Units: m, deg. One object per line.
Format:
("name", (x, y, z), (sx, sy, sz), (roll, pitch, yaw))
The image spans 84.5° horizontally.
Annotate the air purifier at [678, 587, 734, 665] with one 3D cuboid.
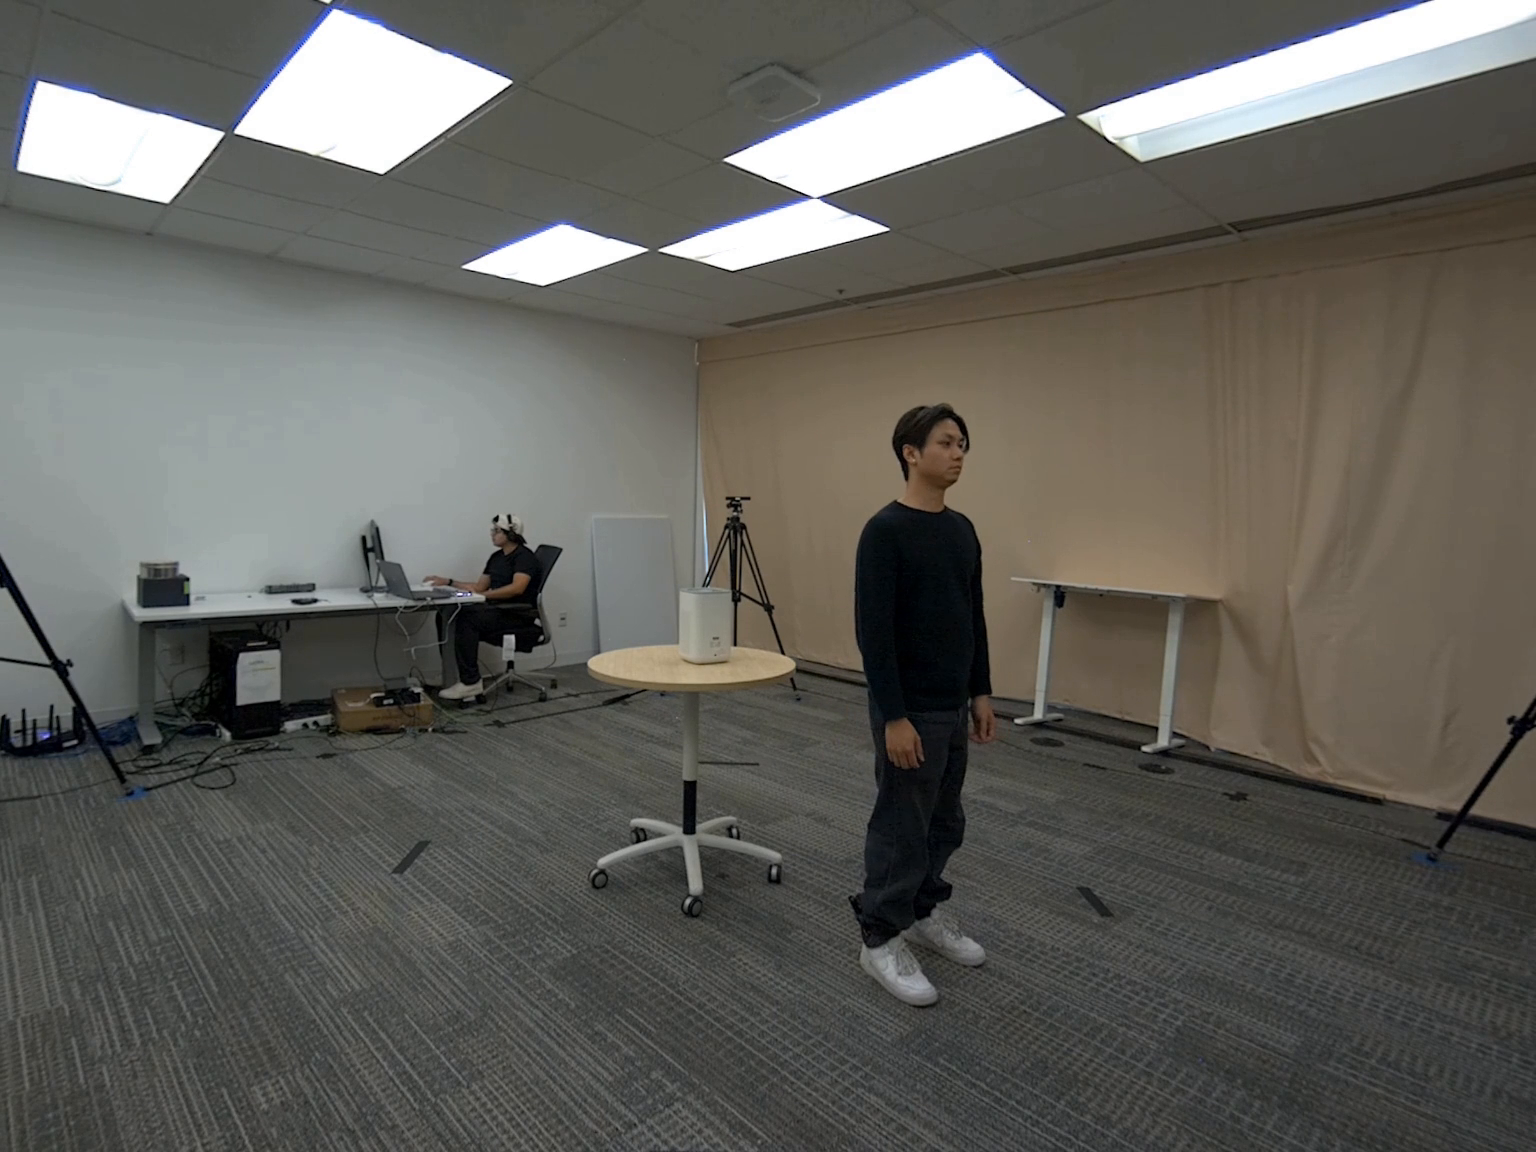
("air purifier", (-0.241, 0.181, 3.138), (0.167, 0.265, 0.175), (-1, 2, -32))
